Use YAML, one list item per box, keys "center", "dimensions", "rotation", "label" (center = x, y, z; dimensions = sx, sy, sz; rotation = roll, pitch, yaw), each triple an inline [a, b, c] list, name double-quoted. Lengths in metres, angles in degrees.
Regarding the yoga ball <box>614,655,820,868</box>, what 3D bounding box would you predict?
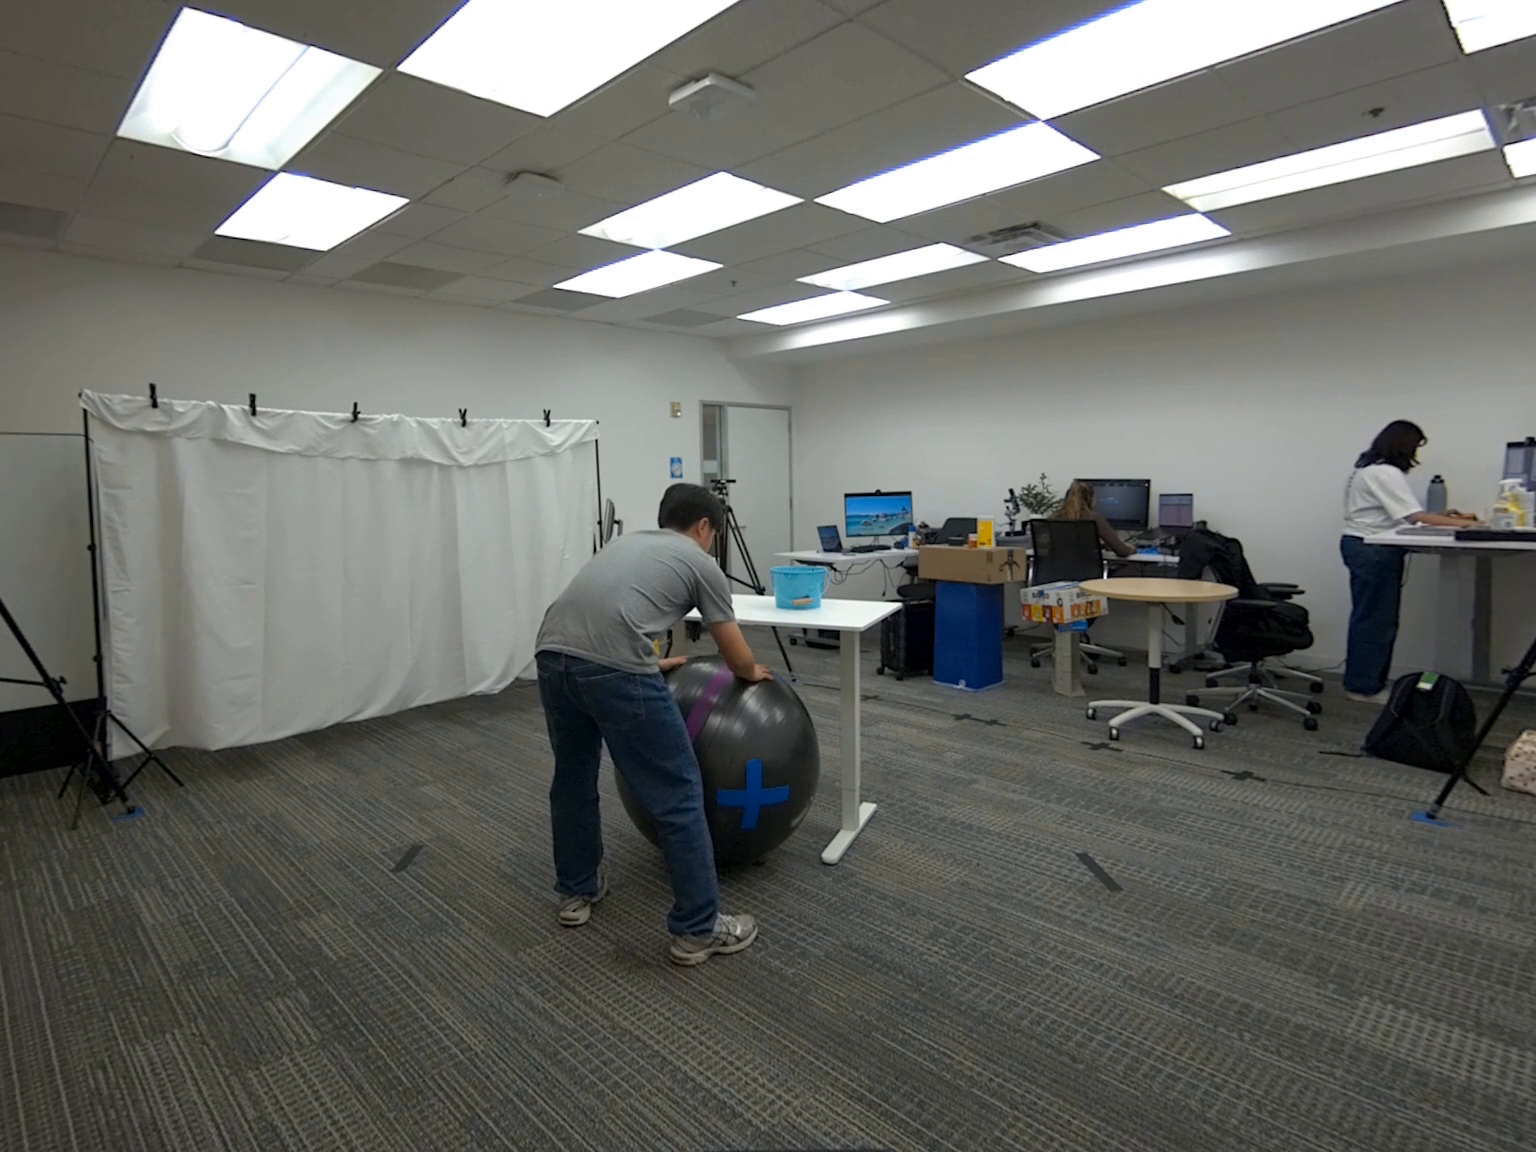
- center: [-0.196, 0.676, 3.161]
  dimensions: [0.757, 0.755, 0.762]
  rotation: [-1, 5, -2]
  label: "yoga ball"
